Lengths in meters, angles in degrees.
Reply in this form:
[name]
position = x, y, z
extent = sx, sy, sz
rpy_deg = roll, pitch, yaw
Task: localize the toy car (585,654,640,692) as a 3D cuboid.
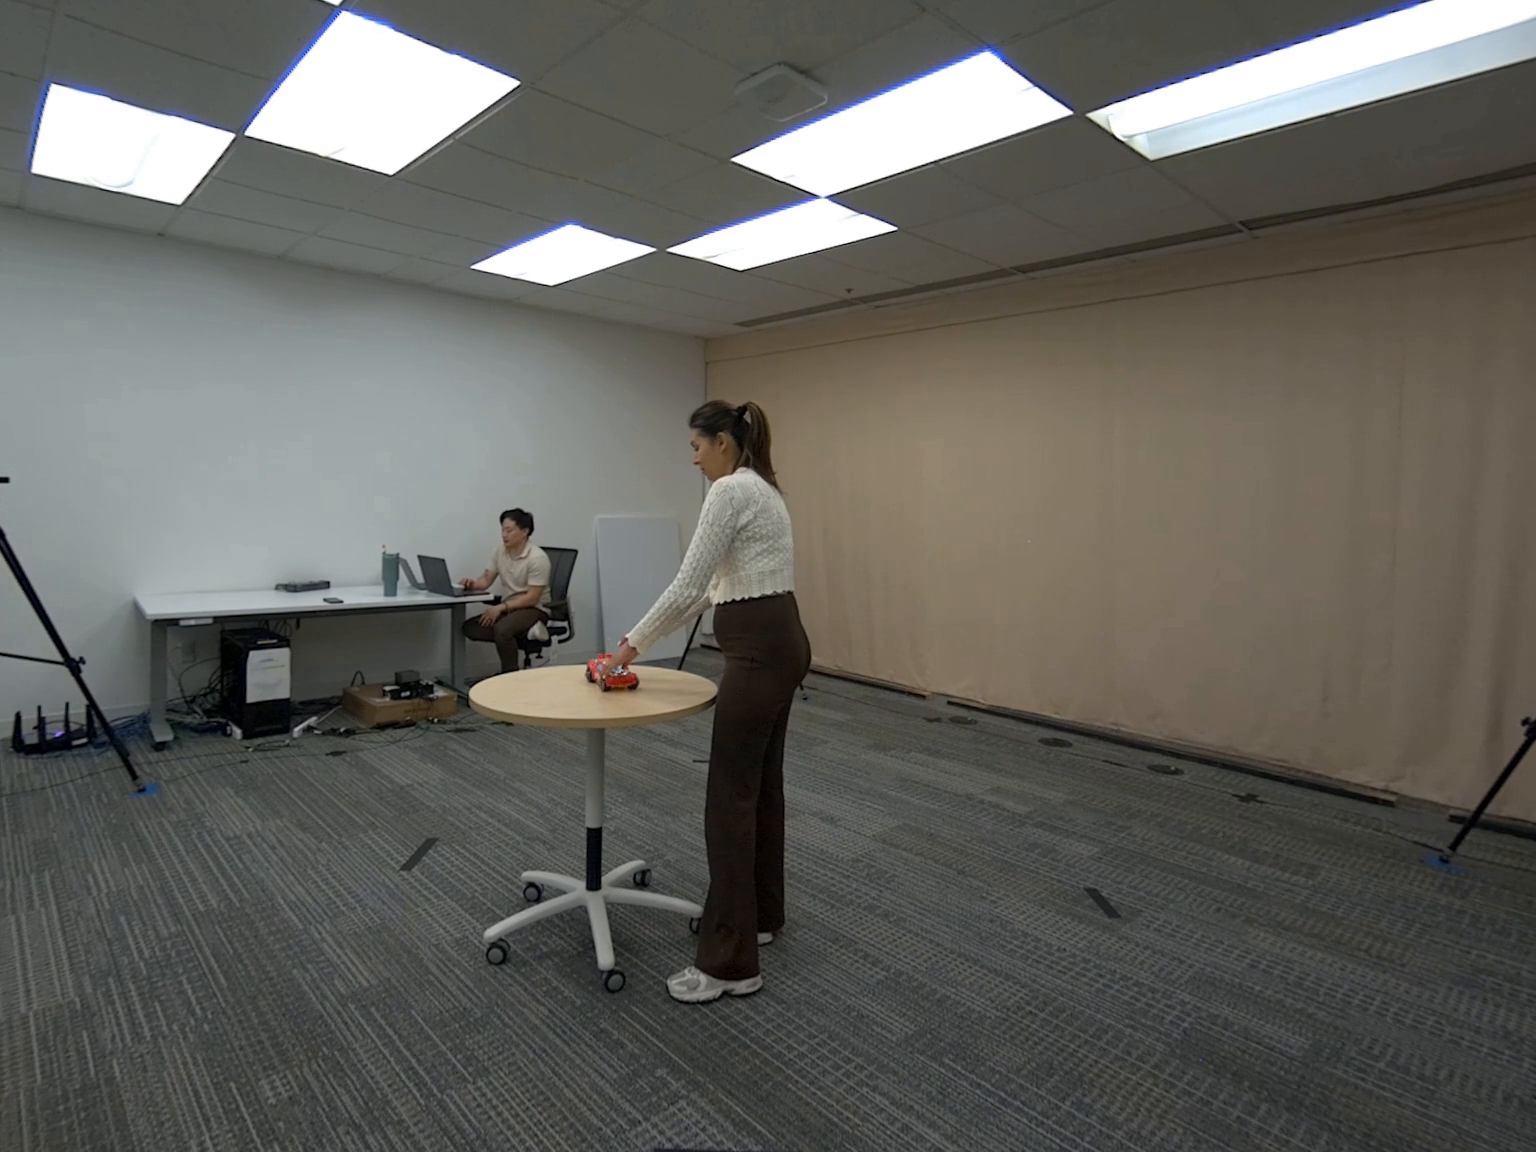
[toy car]
position = -0.509, 0.315, 2.701
extent = 0.128, 0.082, 0.261
rpy_deg = -1, 15, -27
